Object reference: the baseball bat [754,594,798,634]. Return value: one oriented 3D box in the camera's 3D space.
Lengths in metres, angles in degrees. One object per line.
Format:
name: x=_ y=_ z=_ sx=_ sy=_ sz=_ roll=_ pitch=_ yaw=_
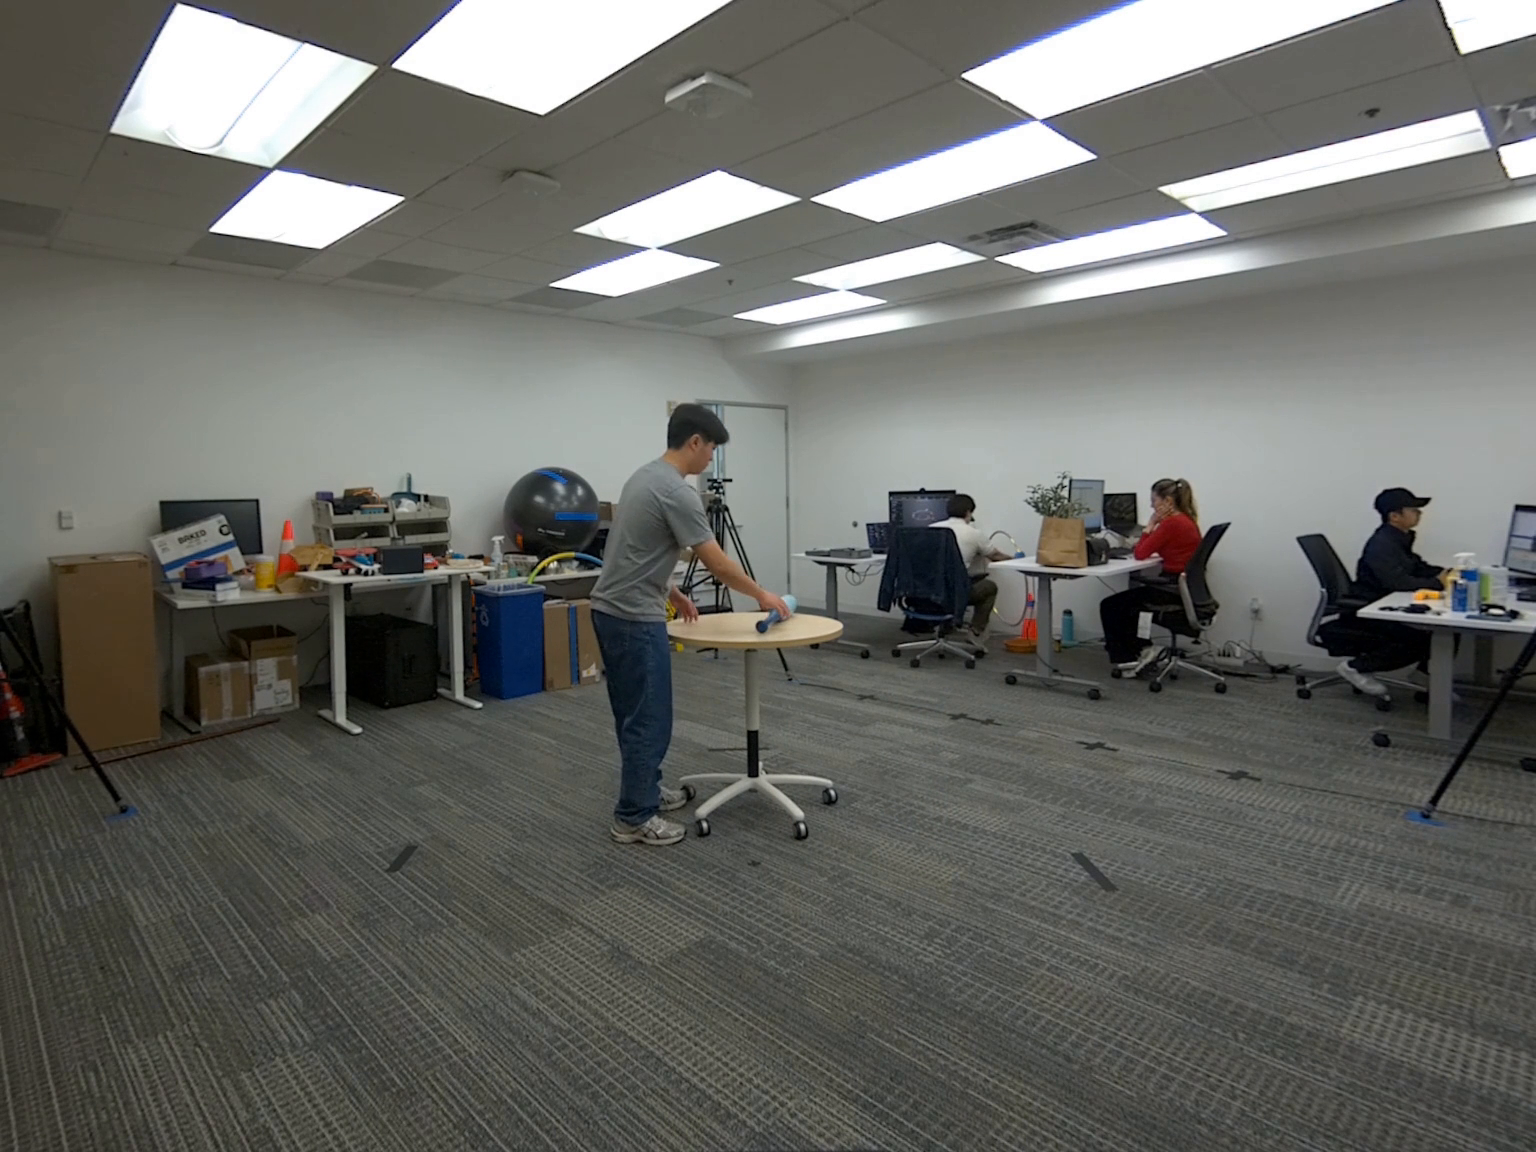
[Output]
baseball bat: x=0.035 y=0.167 z=3.639 sx=0.090 sy=0.088 sz=0.539 roll=0 pitch=9 yaw=14
